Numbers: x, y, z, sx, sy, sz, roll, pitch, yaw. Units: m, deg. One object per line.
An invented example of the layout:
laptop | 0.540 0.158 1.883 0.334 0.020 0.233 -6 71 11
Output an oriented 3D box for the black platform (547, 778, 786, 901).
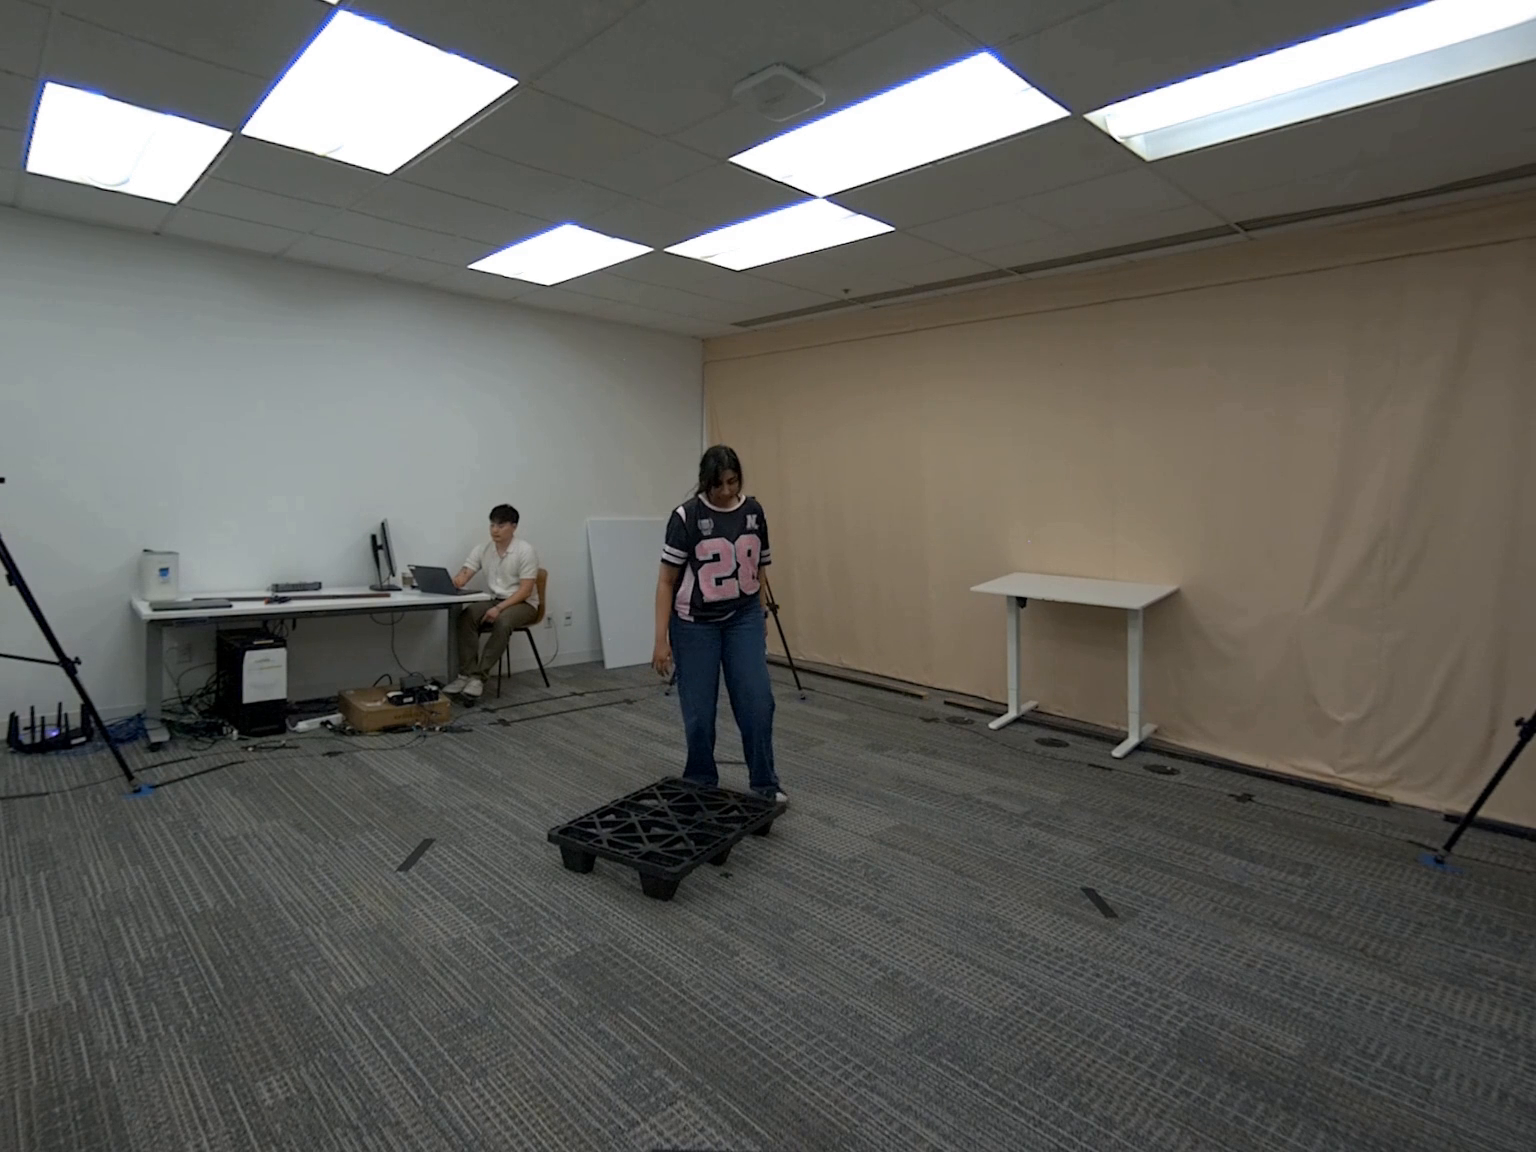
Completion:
black platform | -0.384 1.014 3.311 0.618 0.143 0.790 4 5 30
